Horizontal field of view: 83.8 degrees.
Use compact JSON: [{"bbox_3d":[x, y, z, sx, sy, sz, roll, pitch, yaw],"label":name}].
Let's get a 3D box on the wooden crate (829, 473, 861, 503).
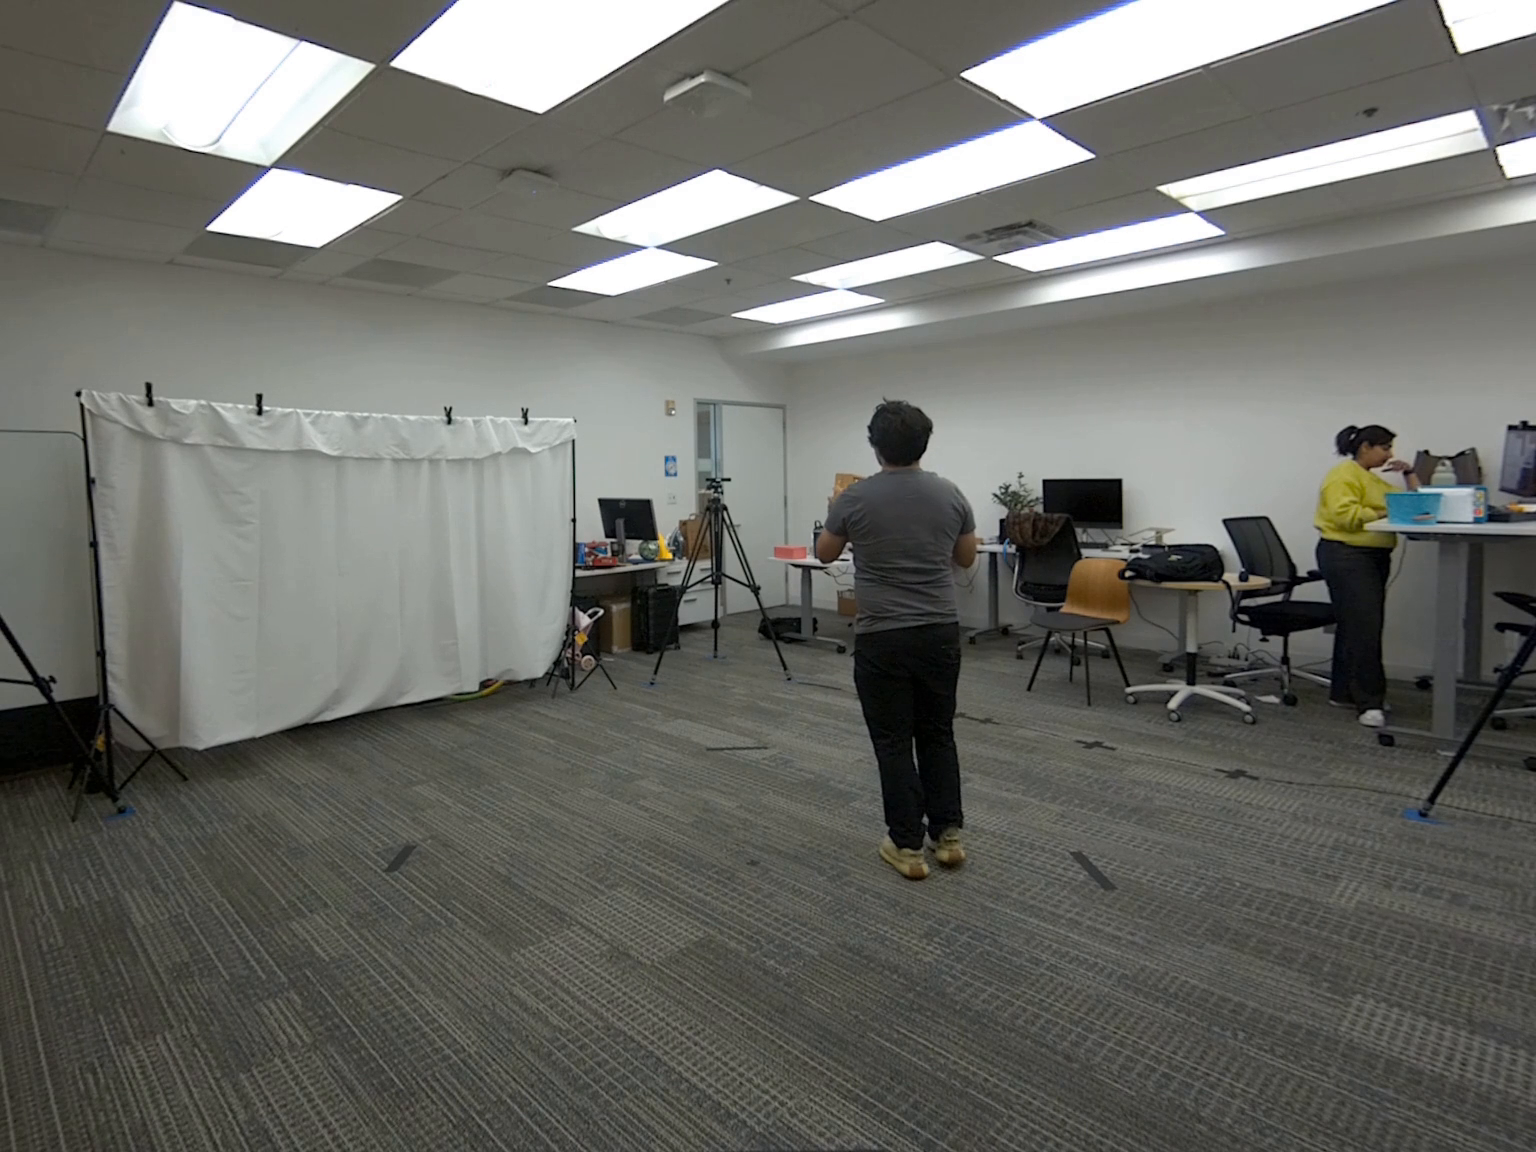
[{"bbox_3d":[0.462,-0.238,3.416,0.314,0.302,0.282,6,2,-39],"label":"wooden crate"}]
